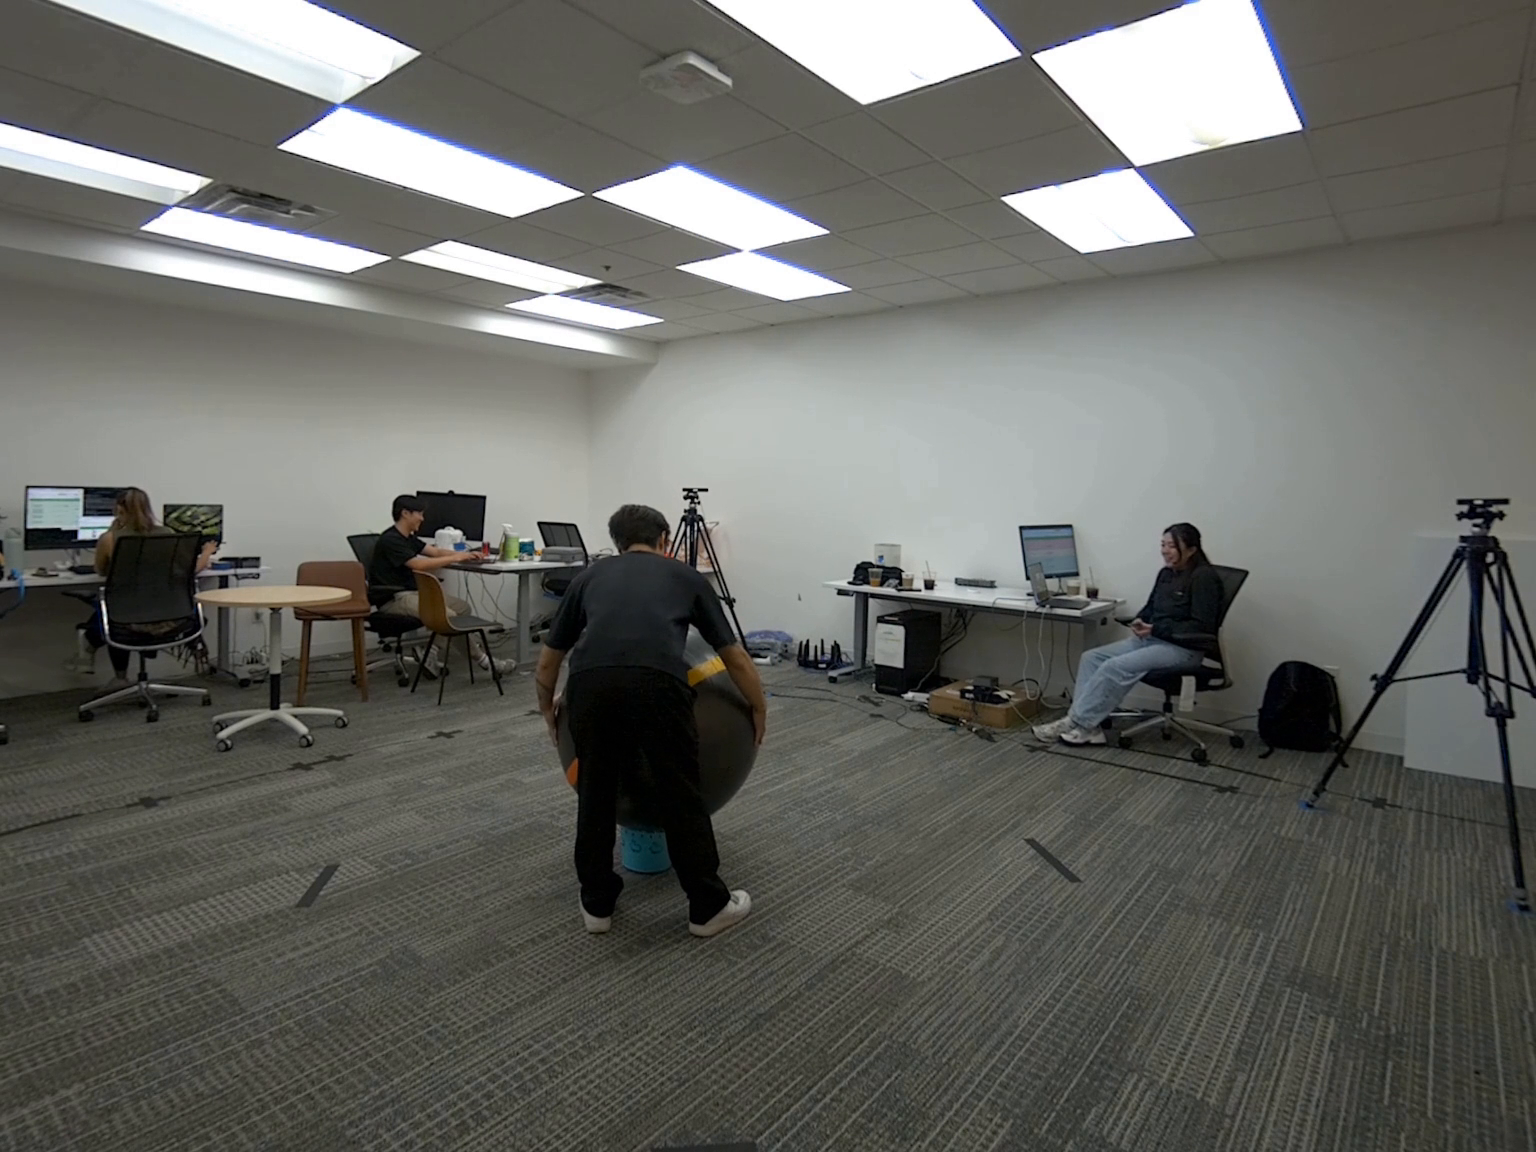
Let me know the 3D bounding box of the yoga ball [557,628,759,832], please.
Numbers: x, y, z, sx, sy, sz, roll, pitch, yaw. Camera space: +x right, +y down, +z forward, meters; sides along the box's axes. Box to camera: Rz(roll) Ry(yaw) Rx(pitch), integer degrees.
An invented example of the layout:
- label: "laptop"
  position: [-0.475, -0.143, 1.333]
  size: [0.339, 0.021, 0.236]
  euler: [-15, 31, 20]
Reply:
- label: "yoga ball"
  position: [-0.409, 0.544, 3.149]
  size: [0.757, 0.756, 0.761]
  euler: [1, 4, -2]
